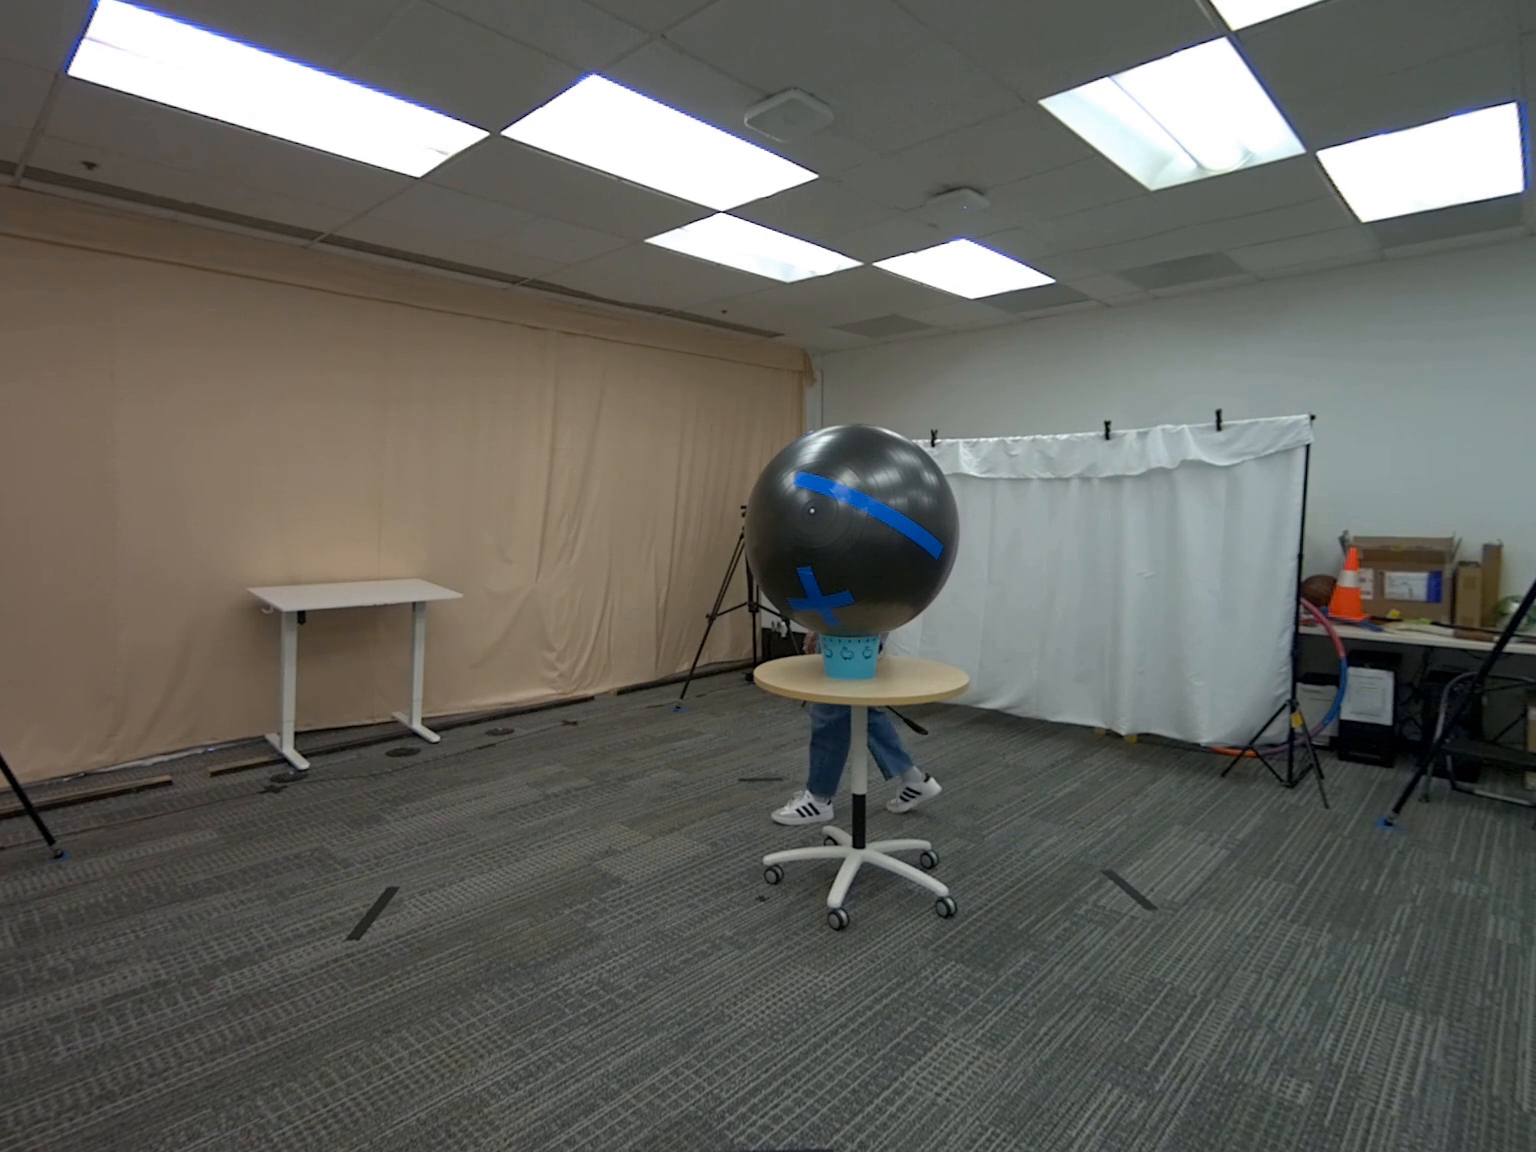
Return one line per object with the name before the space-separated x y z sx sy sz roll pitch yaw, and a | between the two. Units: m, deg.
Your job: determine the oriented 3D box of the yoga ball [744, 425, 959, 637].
yoga ball | 0.297 -0.154 3.011 0.757 0.756 0.760 0 4 -2
